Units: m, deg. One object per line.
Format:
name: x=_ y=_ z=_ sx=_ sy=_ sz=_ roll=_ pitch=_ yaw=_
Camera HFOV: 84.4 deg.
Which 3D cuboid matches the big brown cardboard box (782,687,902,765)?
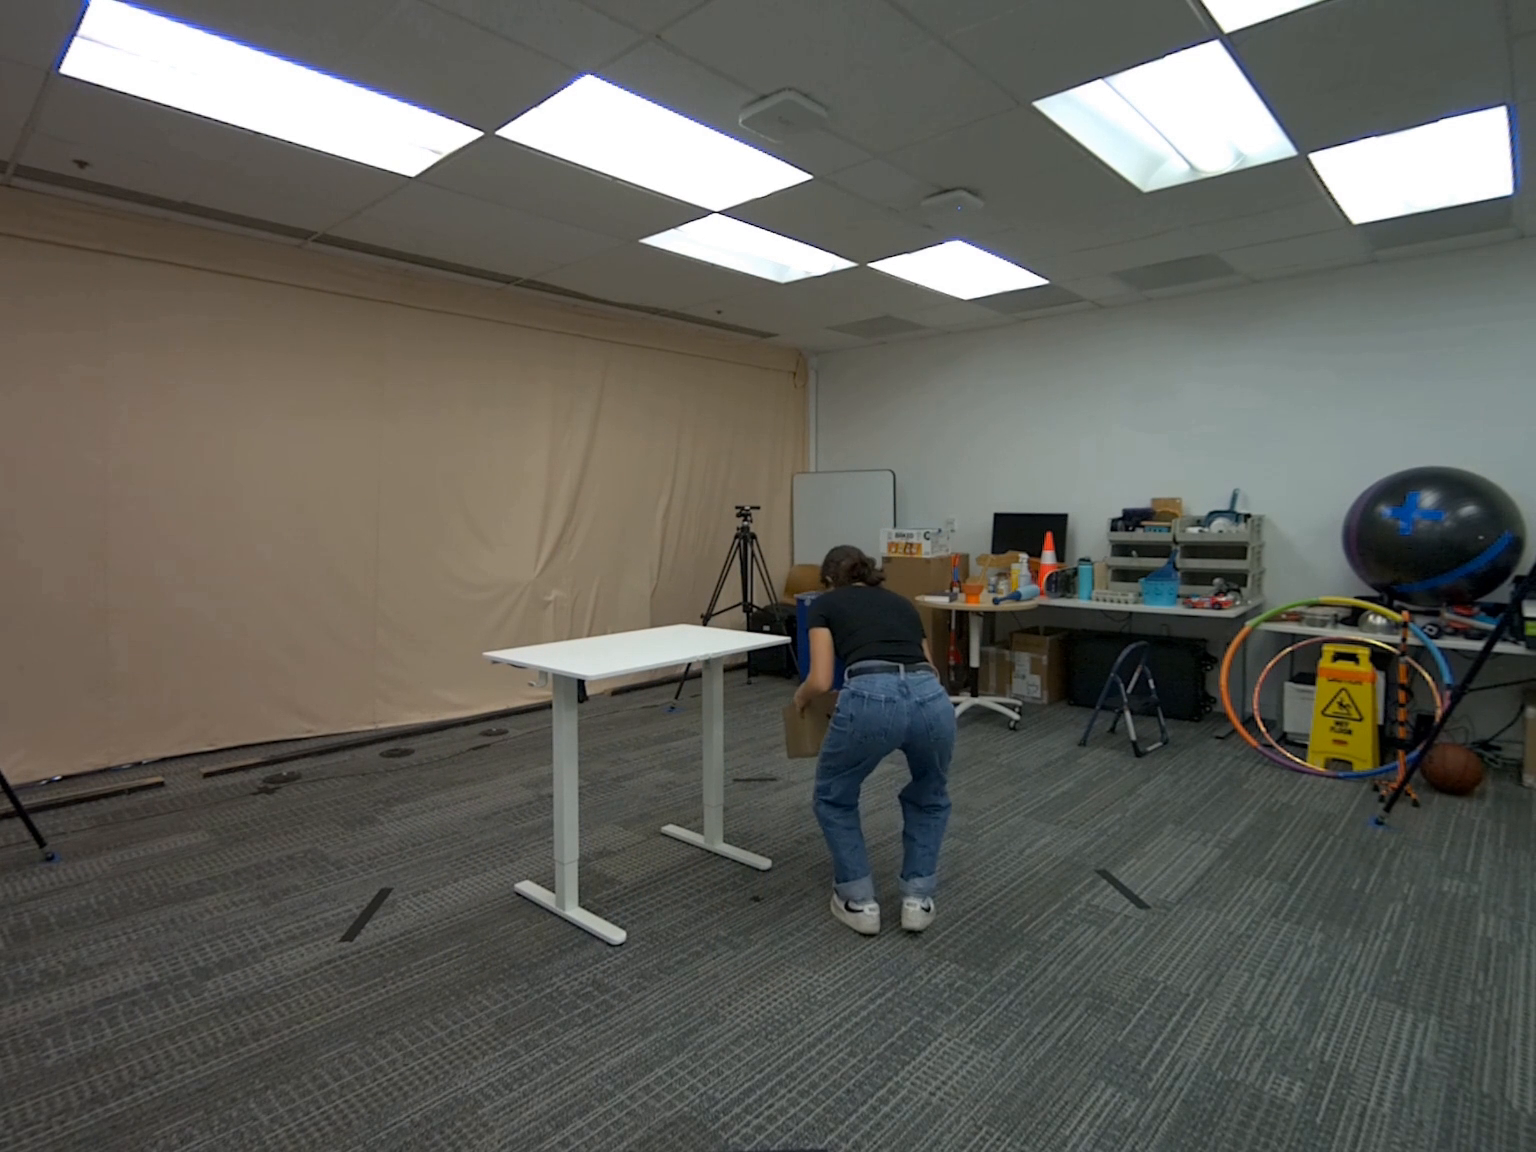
big brown cardboard box: x=0.305 y=0.580 z=3.292 sx=0.416 sy=0.236 sz=0.585 roll=-4 pitch=-15 yaw=-5
